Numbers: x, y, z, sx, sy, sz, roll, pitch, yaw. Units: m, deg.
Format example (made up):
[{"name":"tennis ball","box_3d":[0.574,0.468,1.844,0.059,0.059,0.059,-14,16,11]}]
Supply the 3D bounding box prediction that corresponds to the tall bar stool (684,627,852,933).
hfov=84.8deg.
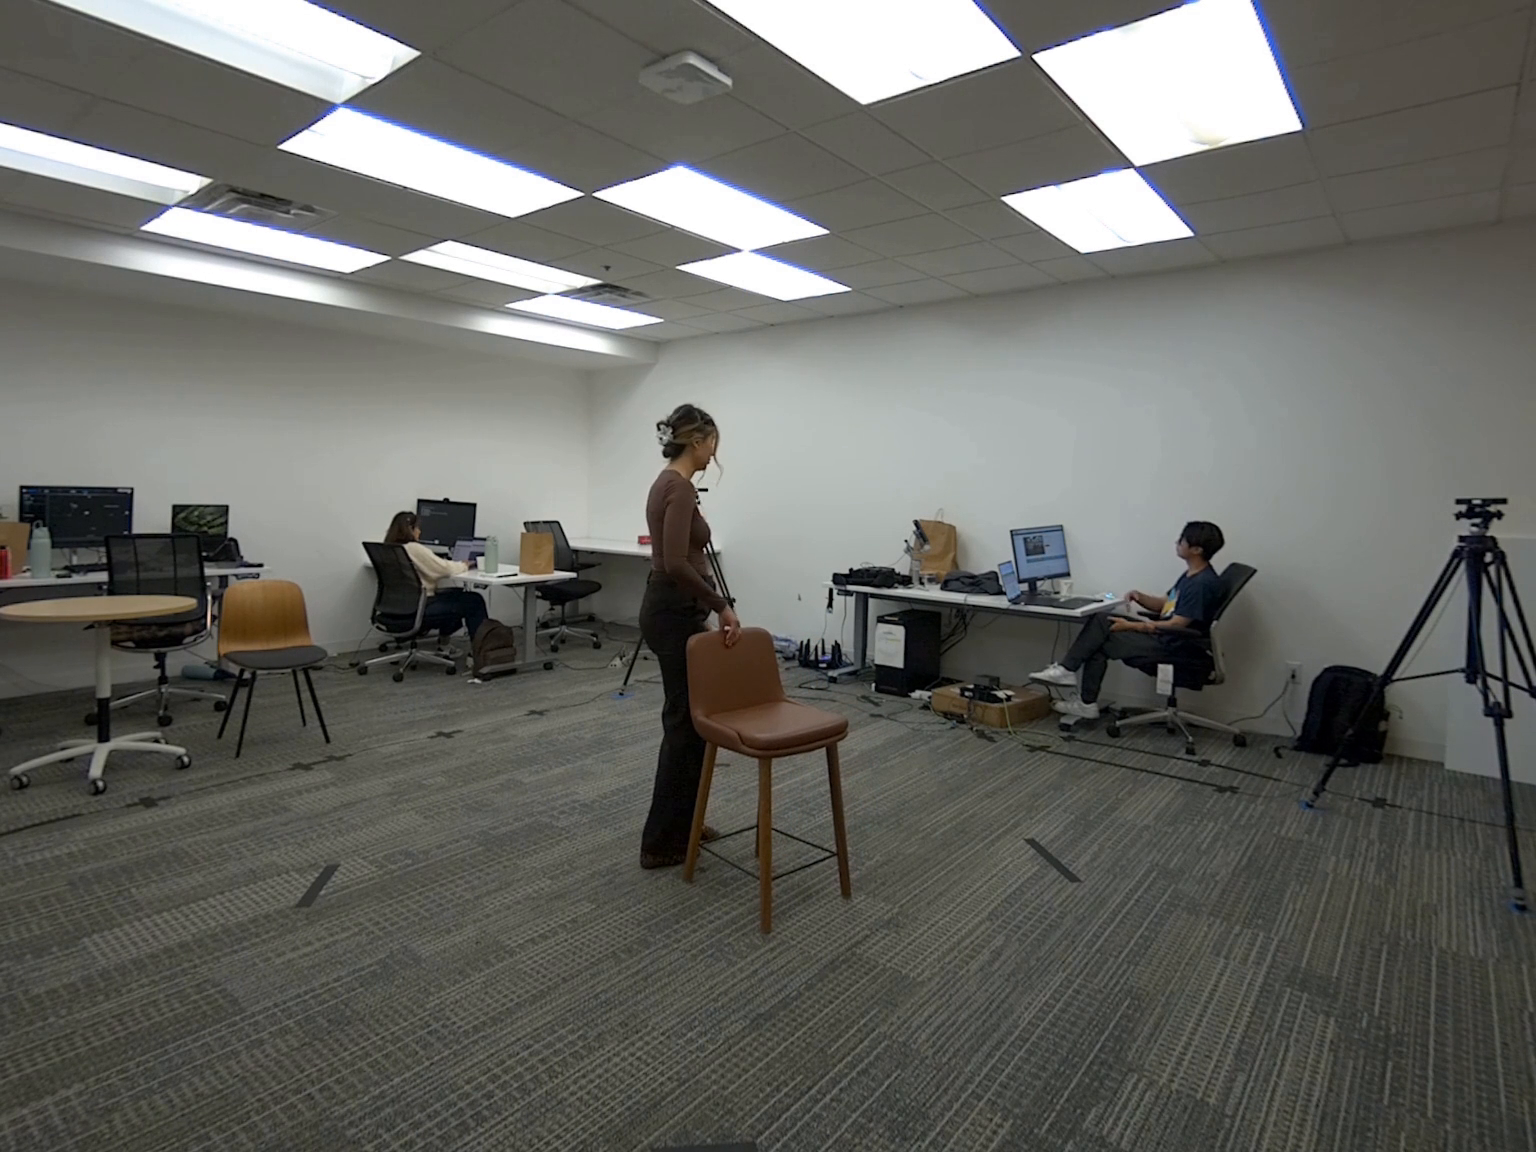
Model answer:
[{"name":"tall bar stool","box_3d":[-0.017,0.652,2.948,0.442,0.889,0.483,-1,2,-42]}]
